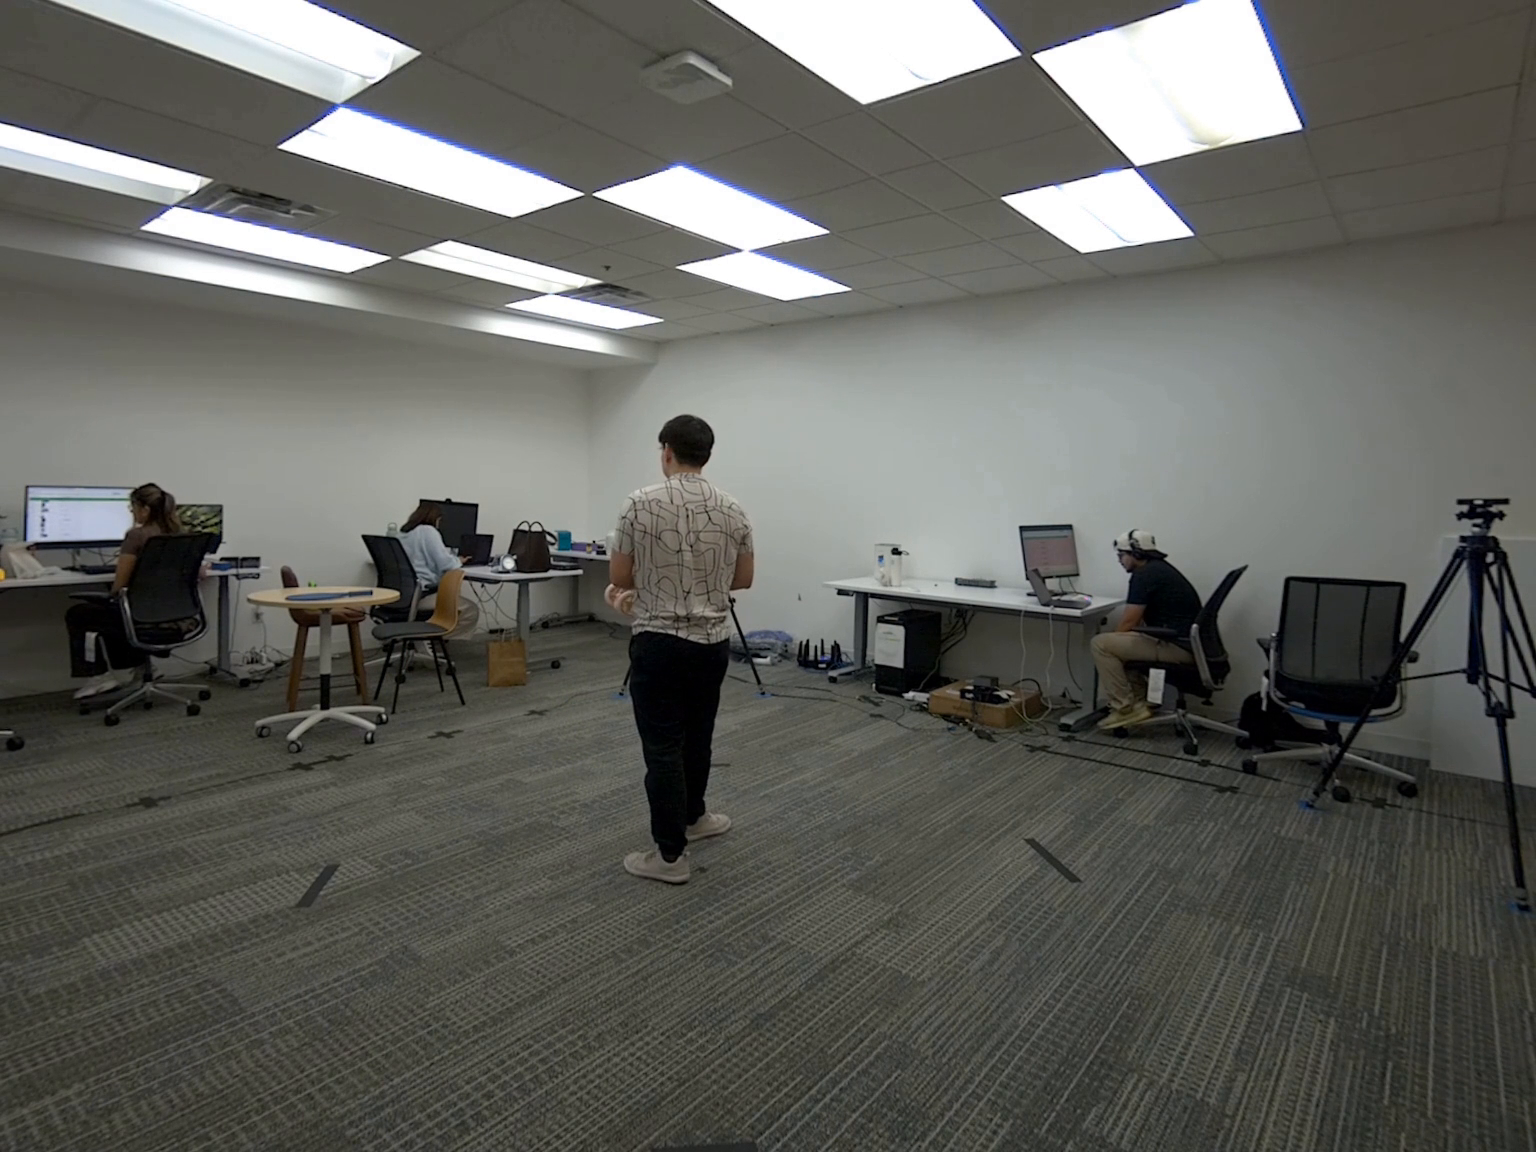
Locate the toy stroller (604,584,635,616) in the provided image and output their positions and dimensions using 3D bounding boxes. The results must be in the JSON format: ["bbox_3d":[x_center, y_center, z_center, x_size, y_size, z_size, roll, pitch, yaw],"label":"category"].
[{"bbox_3d":[-0.438,0.040,3.493,0.523,0.342,0.287,20,-6,-17],"label":"toy stroller"}]
